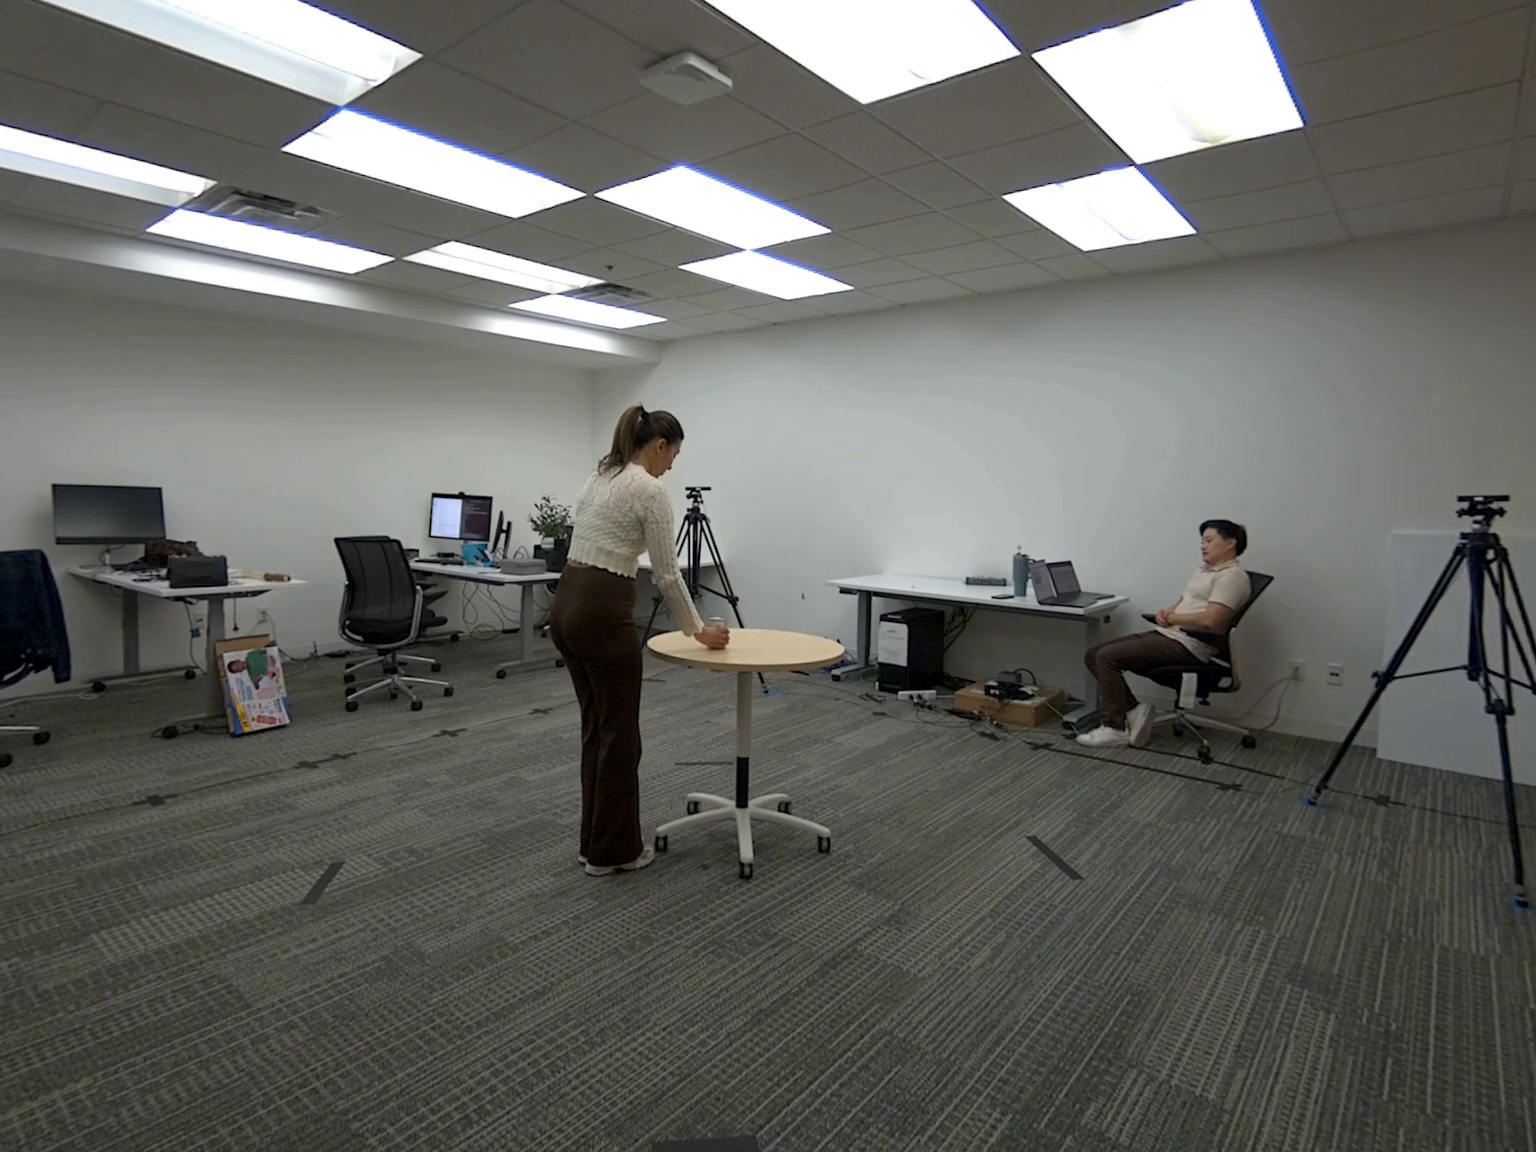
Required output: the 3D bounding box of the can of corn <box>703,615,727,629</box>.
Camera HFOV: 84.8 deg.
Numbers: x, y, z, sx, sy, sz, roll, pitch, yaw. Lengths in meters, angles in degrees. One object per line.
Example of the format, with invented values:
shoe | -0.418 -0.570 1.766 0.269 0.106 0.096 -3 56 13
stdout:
can of corn | -0.200 0.216 3.215 0.074 0.110 0.075 0 5 -2
